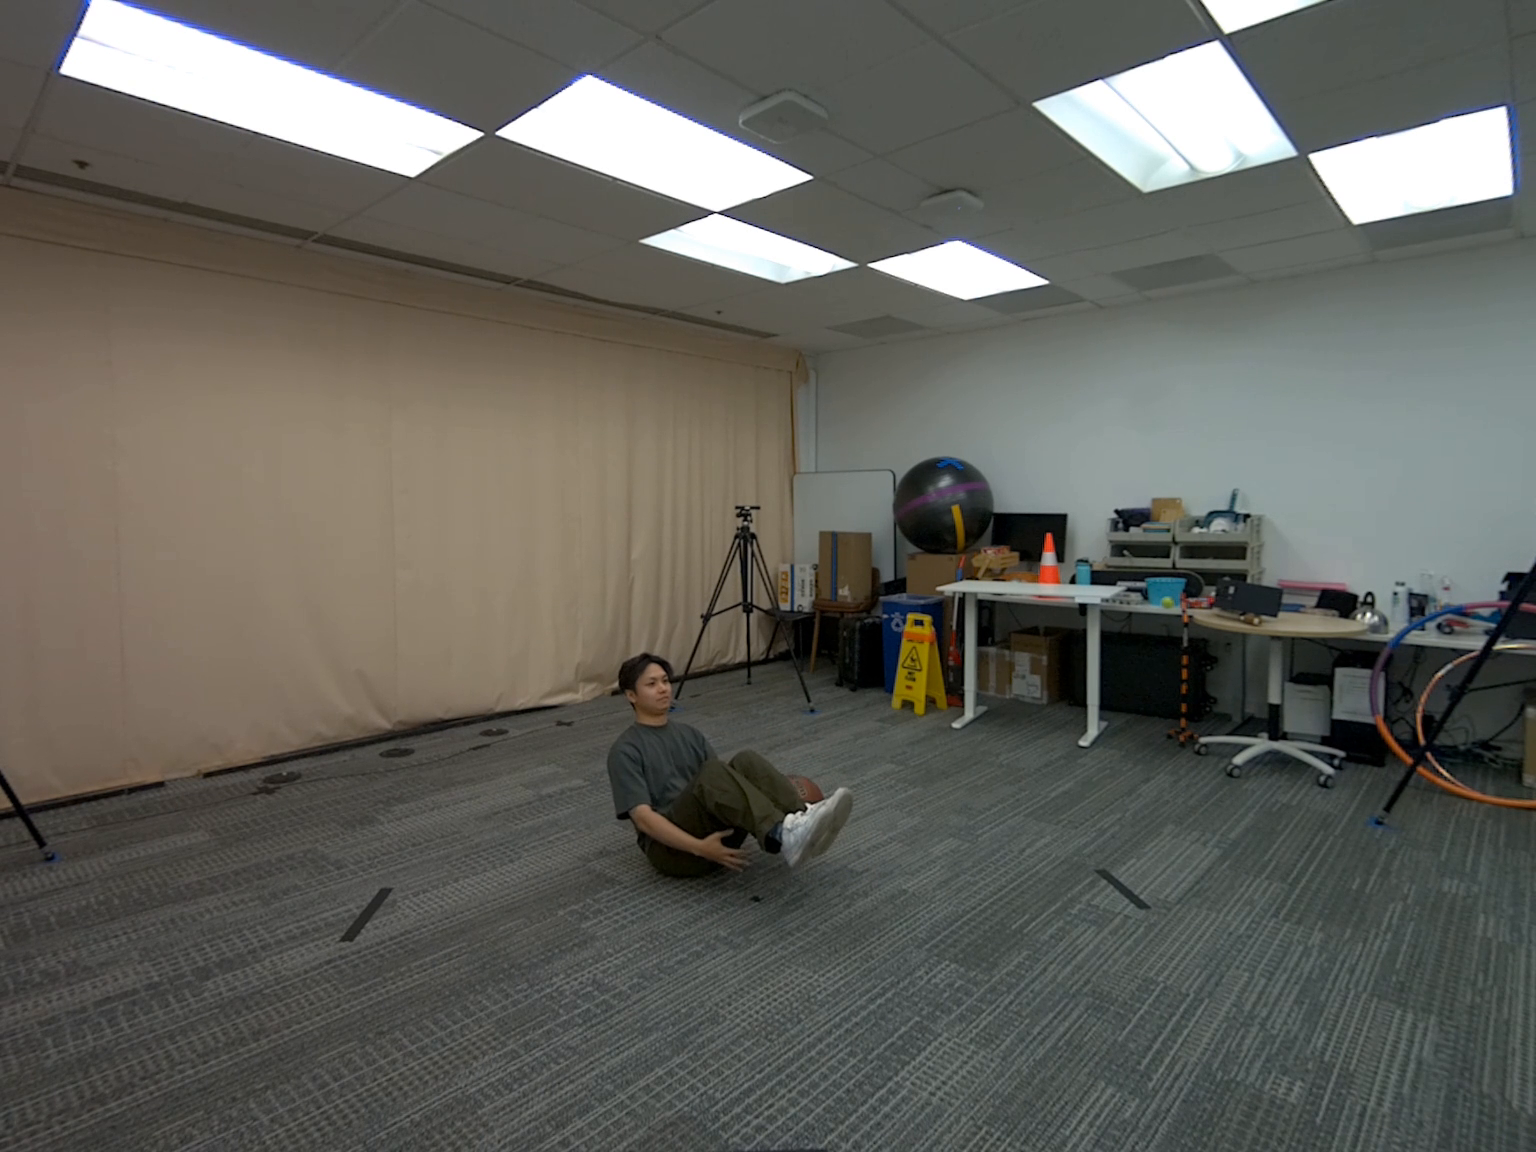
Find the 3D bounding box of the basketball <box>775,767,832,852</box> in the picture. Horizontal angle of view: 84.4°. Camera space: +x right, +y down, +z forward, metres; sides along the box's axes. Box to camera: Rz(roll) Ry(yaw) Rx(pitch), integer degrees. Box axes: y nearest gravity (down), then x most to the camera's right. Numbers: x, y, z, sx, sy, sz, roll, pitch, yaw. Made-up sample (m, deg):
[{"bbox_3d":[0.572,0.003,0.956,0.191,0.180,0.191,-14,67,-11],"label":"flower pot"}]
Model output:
[{"bbox_3d":[0.104,0.876,3.204,0.236,0.235,0.237,0,4,-2],"label":"basketball"}]
